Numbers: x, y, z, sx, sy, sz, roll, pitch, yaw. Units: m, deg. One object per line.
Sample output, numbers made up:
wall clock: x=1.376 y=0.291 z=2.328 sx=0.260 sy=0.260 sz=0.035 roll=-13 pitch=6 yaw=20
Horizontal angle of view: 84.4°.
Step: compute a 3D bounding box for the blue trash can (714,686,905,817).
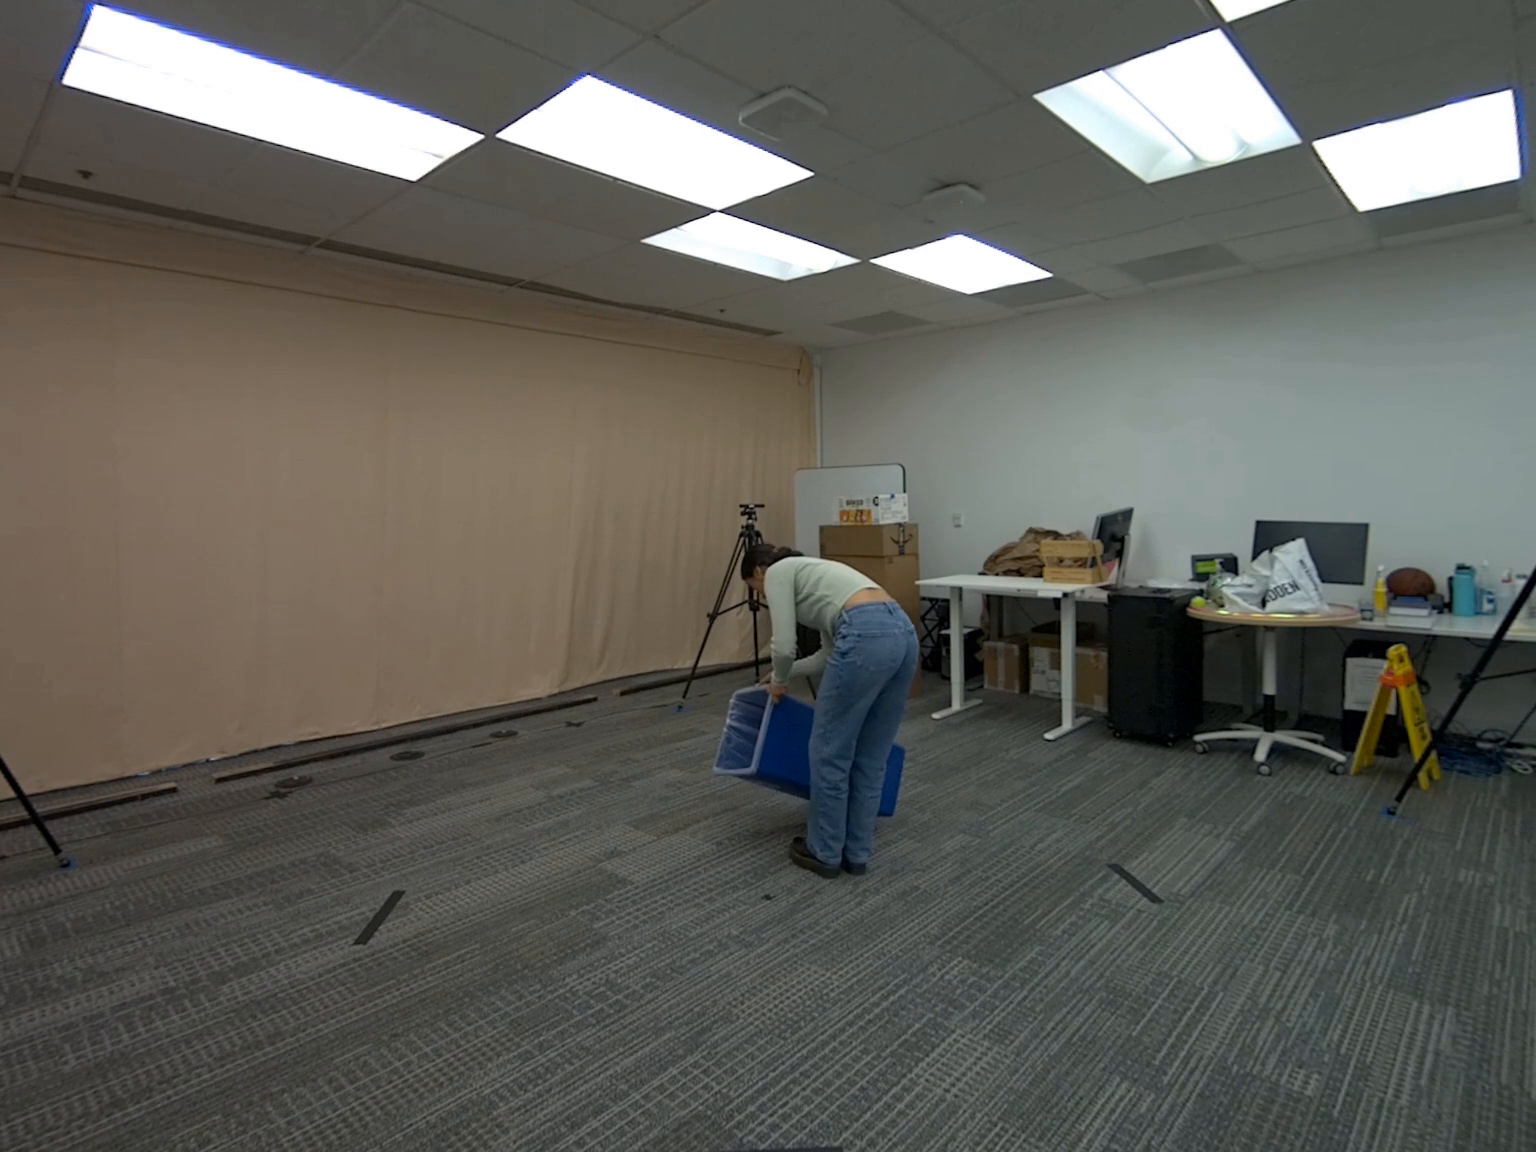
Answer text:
blue trash can: x=0.192 y=0.764 z=3.596 sx=0.698 sy=0.380 sz=0.380 roll=23 pitch=-22 yaw=-19
